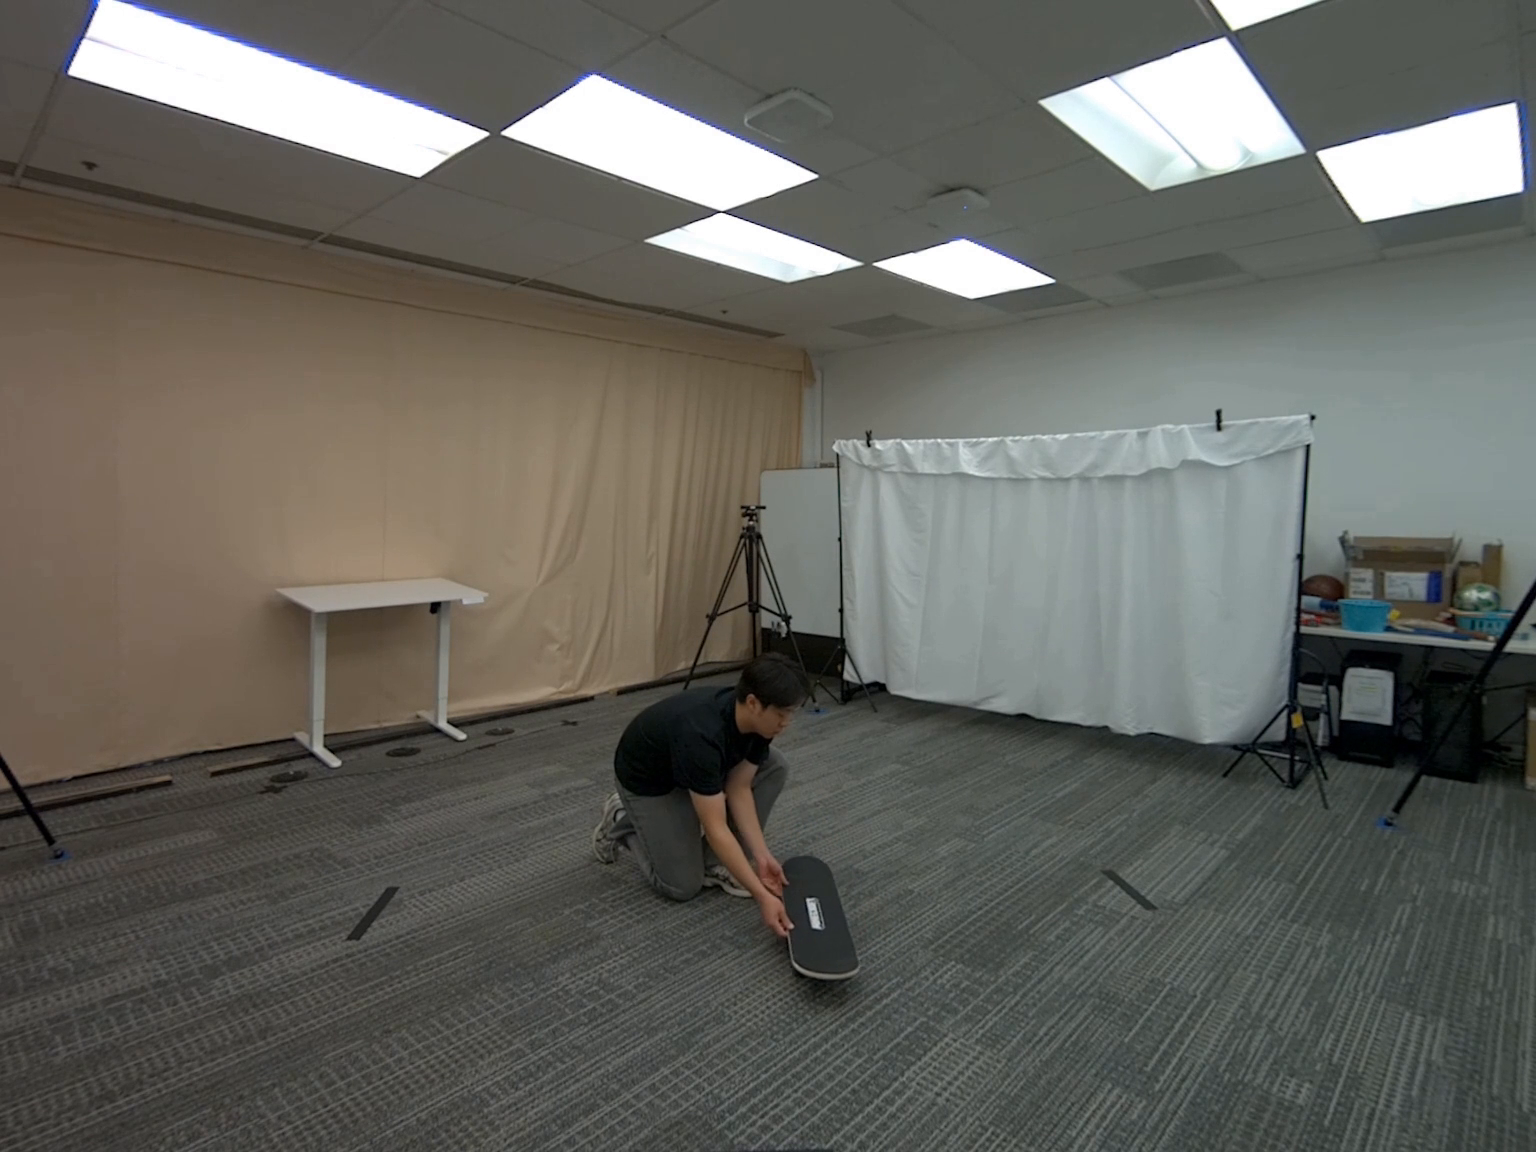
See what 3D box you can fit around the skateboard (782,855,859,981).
[{"bbox_3d":[0.159,1.105,2.701,0.193,0.110,0.787,0,5,-2],"label":"skateboard"}]
